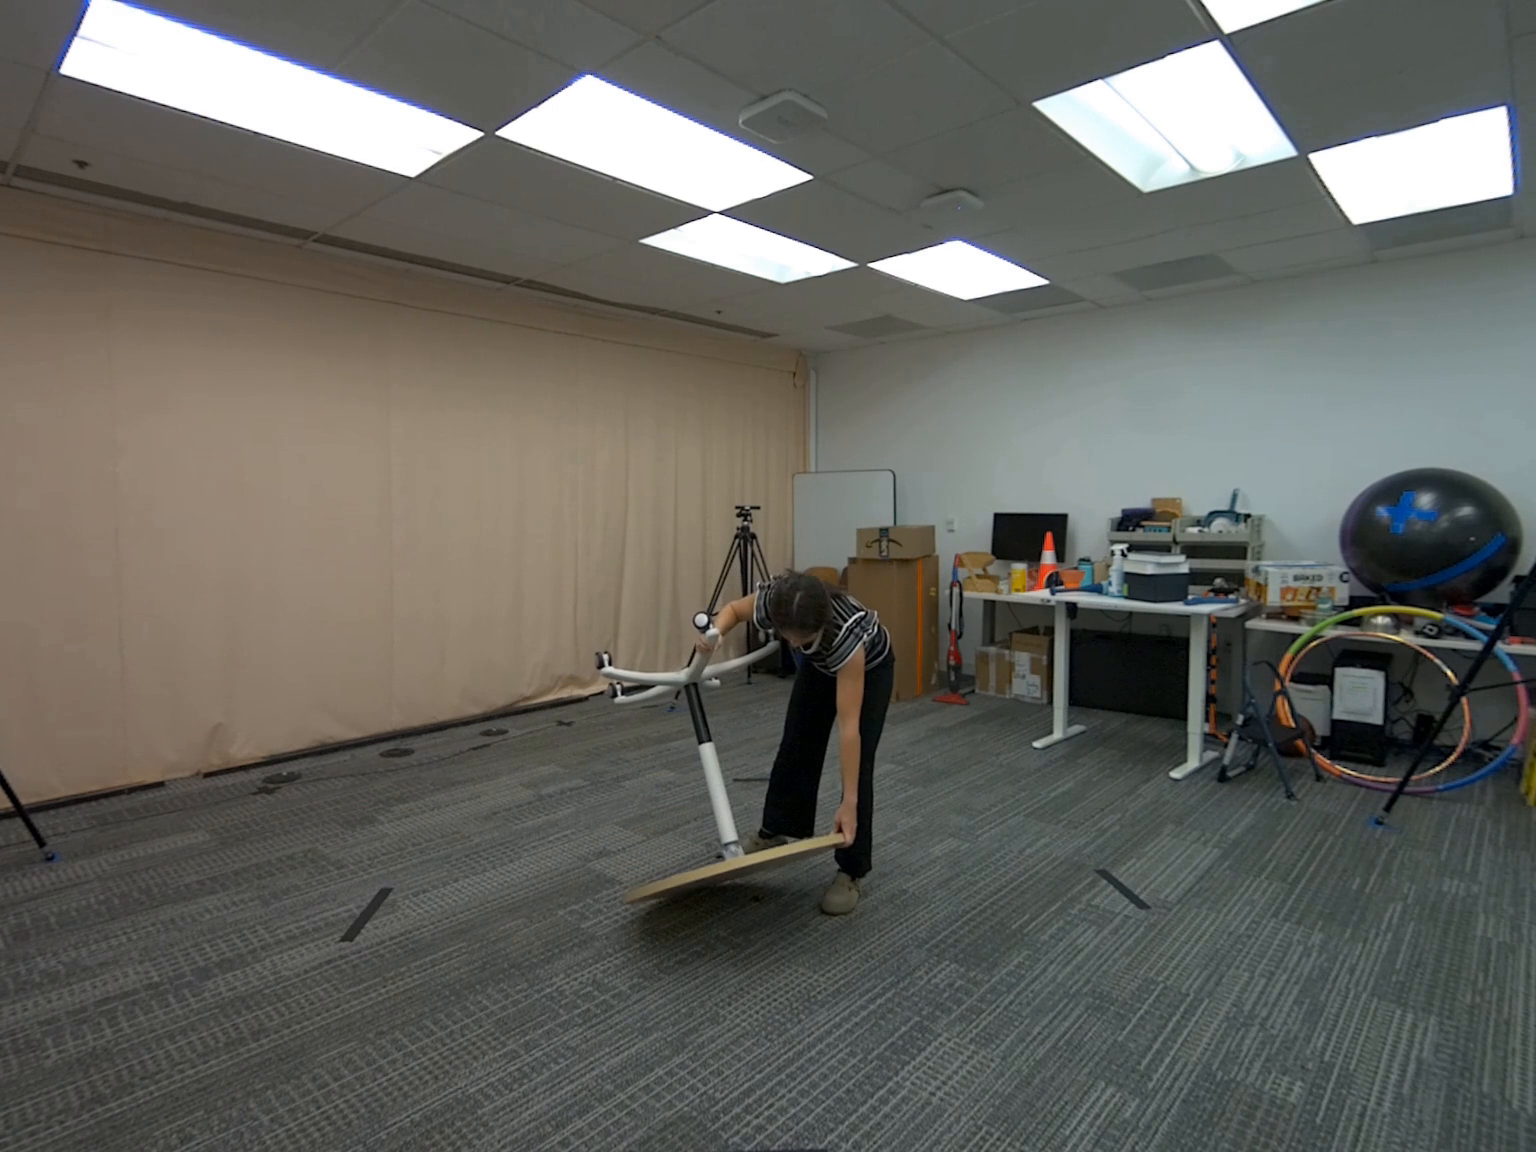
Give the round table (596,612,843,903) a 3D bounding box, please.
[{"bbox_3d":[-0.206,0.624,2.909,0.759,0.809,0.754,-14,-22,-8],"label":"round table"}]
